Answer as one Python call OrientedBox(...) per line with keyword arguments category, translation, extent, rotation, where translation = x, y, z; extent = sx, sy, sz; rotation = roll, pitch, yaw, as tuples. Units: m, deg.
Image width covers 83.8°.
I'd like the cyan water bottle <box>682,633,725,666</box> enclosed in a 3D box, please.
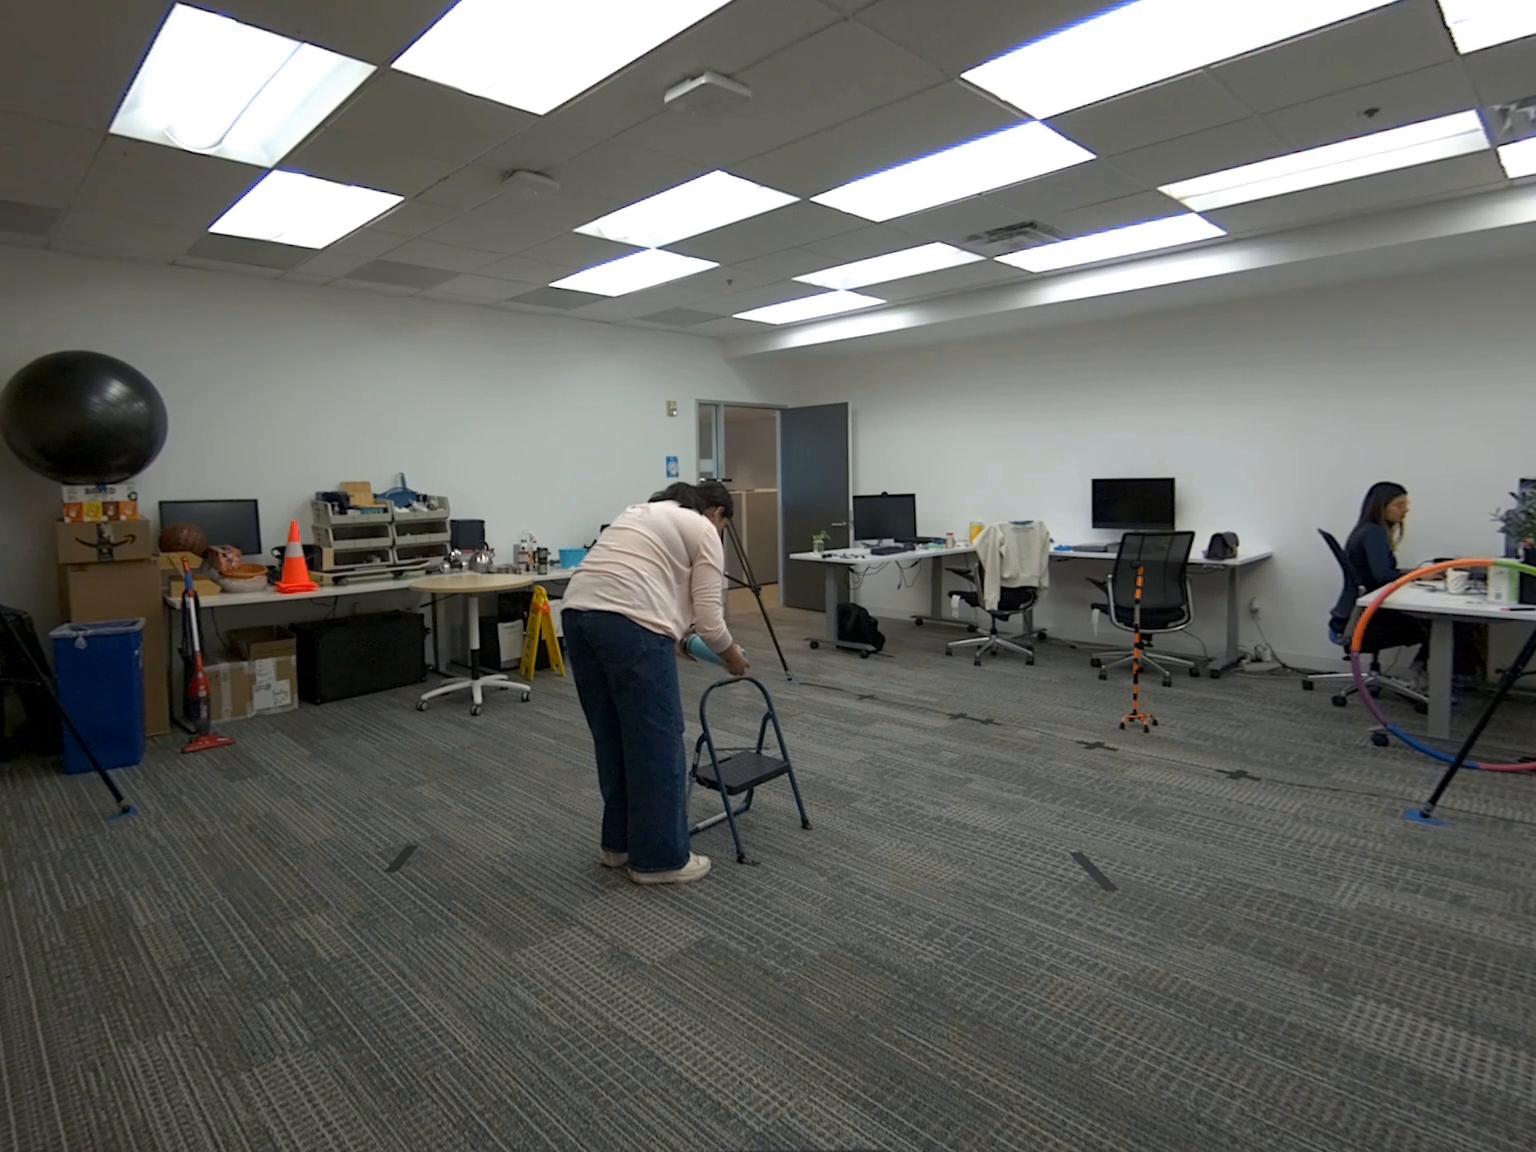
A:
OrientedBox(category="cyan water bottle", translation=(-0.224, 0.298, 3.371), extent=(0.292, 0.091, 0.090), rotation=(14, 12, 31))
